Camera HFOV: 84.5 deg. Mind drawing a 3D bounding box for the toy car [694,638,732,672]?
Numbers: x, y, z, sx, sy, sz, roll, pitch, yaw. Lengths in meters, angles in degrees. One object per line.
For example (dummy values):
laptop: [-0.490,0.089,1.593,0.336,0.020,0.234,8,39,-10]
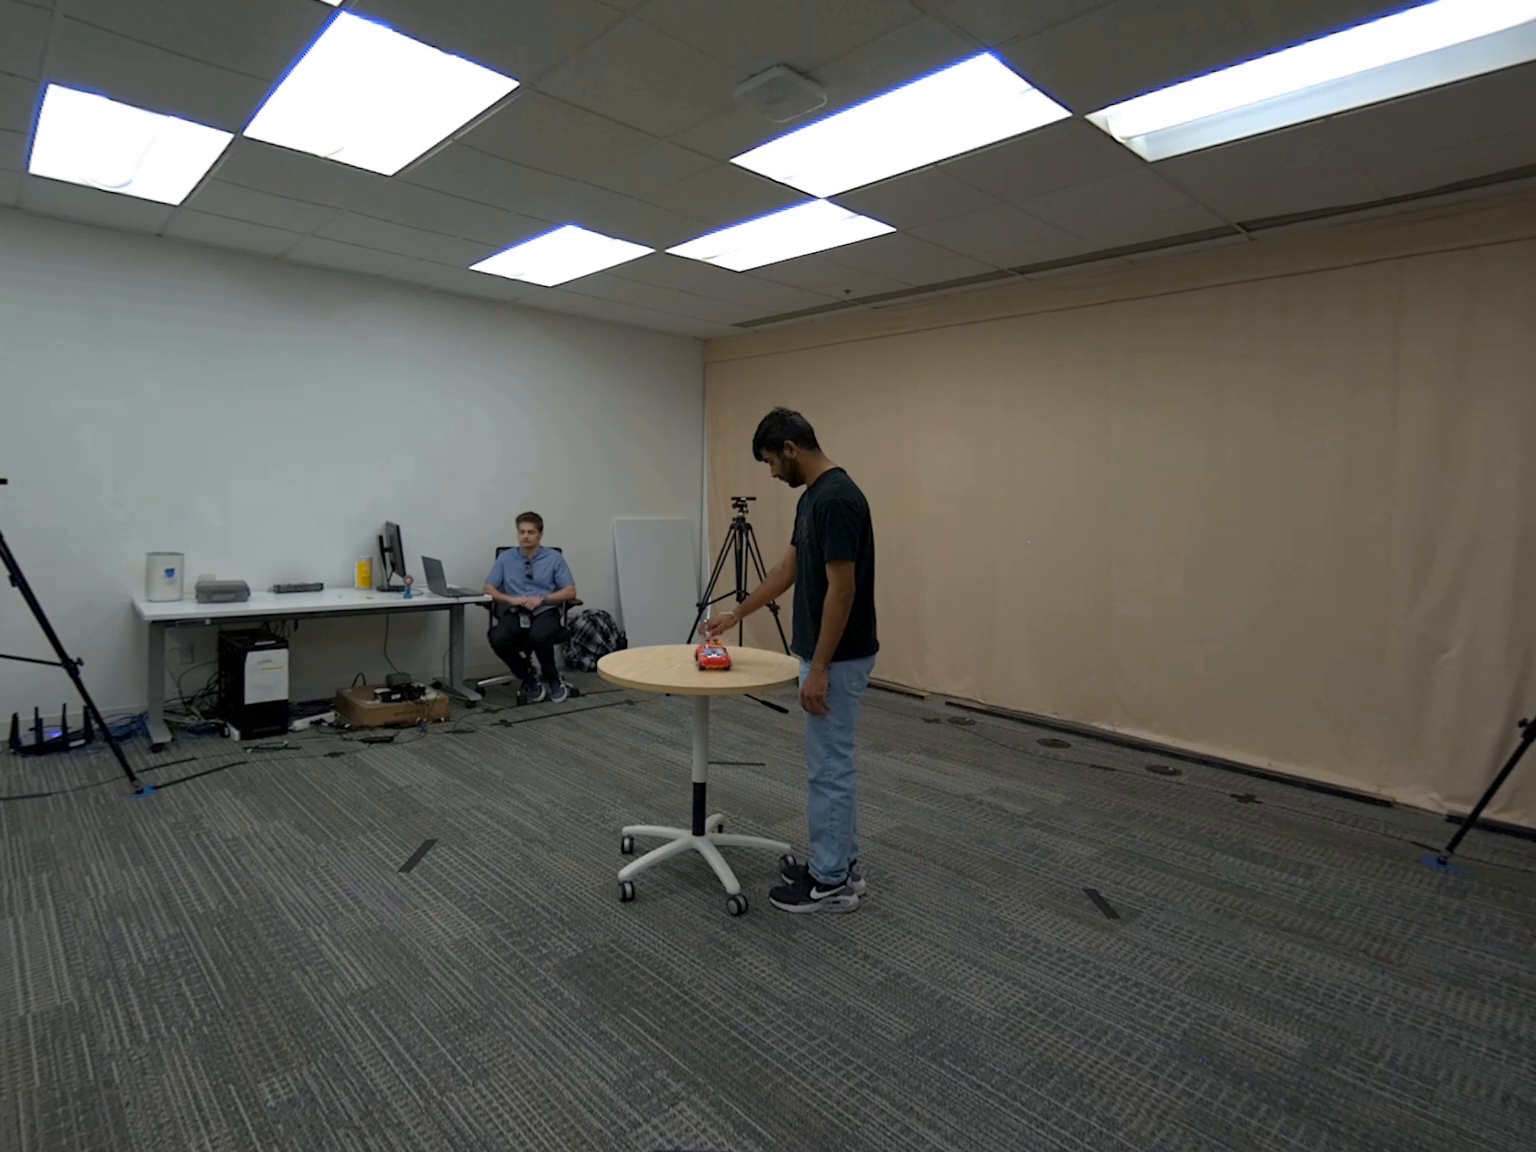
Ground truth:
toy car: [-0.207,0.292,3.079,0.129,0.082,0.259,1,16,-8]
